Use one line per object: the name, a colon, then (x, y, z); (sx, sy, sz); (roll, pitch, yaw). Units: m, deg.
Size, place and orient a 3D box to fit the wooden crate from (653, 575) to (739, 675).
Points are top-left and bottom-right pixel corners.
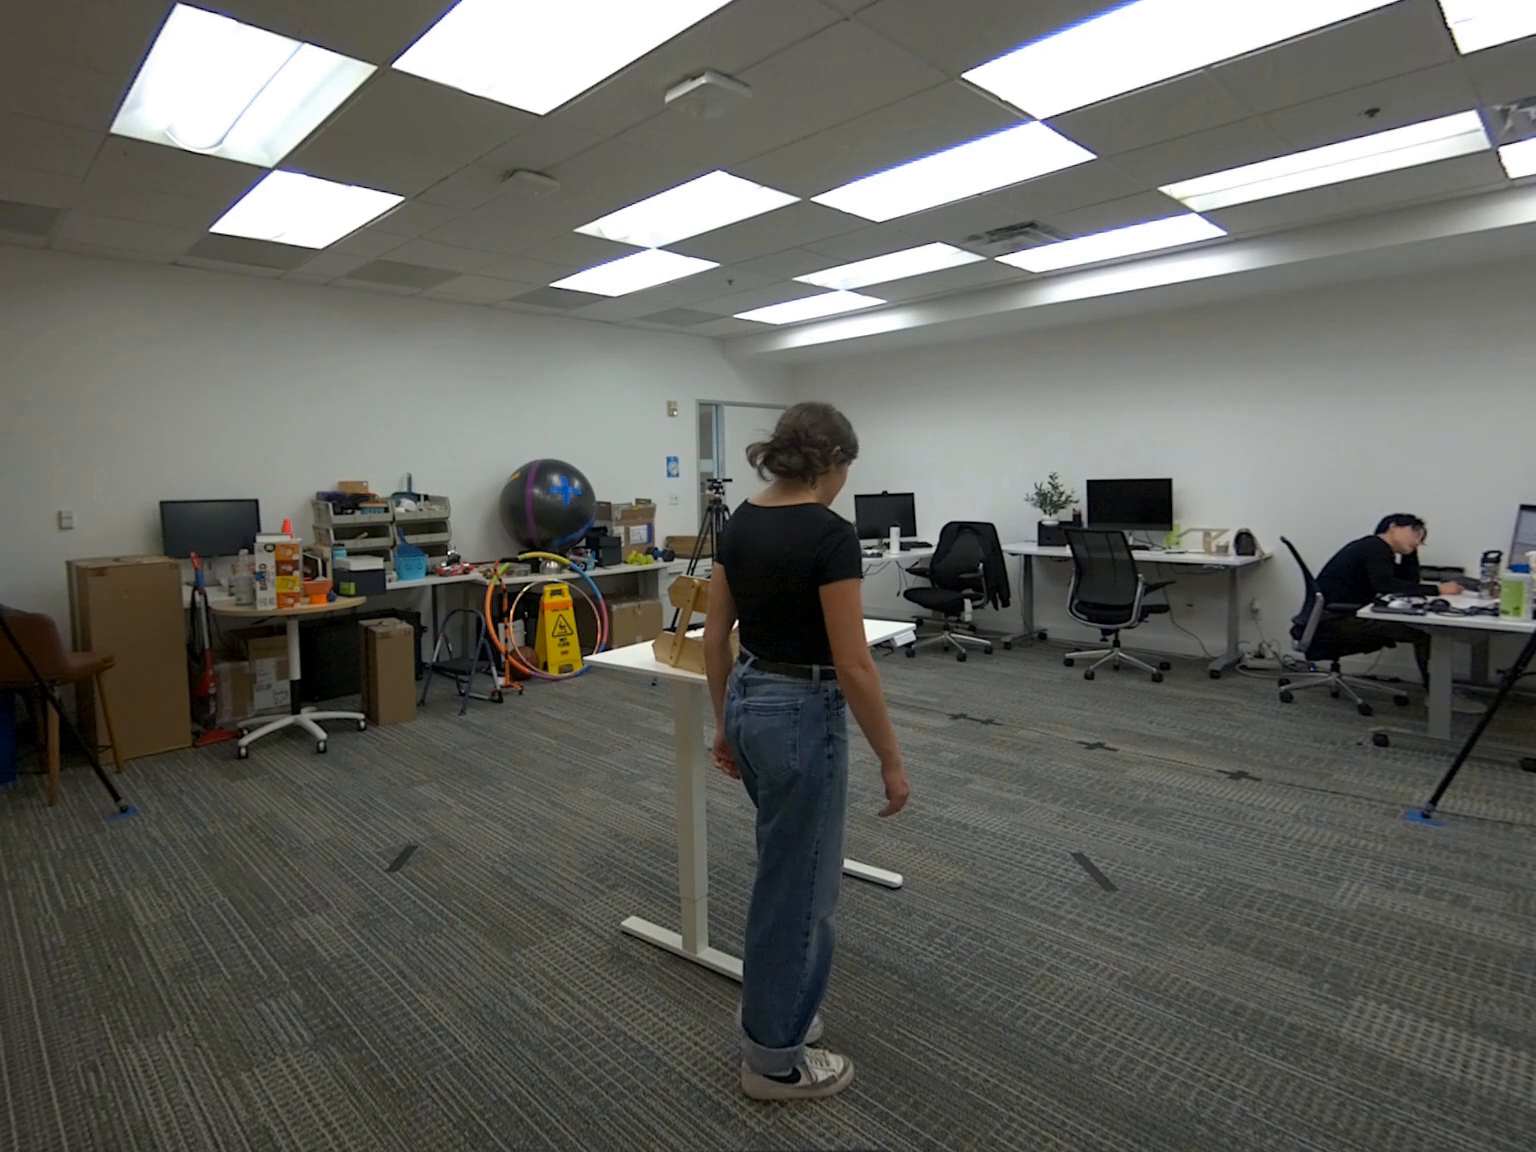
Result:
wooden crate: (-0.119, 0.111, 2.437); (0.316, 0.272, 0.311); (-6, 8, -38)
